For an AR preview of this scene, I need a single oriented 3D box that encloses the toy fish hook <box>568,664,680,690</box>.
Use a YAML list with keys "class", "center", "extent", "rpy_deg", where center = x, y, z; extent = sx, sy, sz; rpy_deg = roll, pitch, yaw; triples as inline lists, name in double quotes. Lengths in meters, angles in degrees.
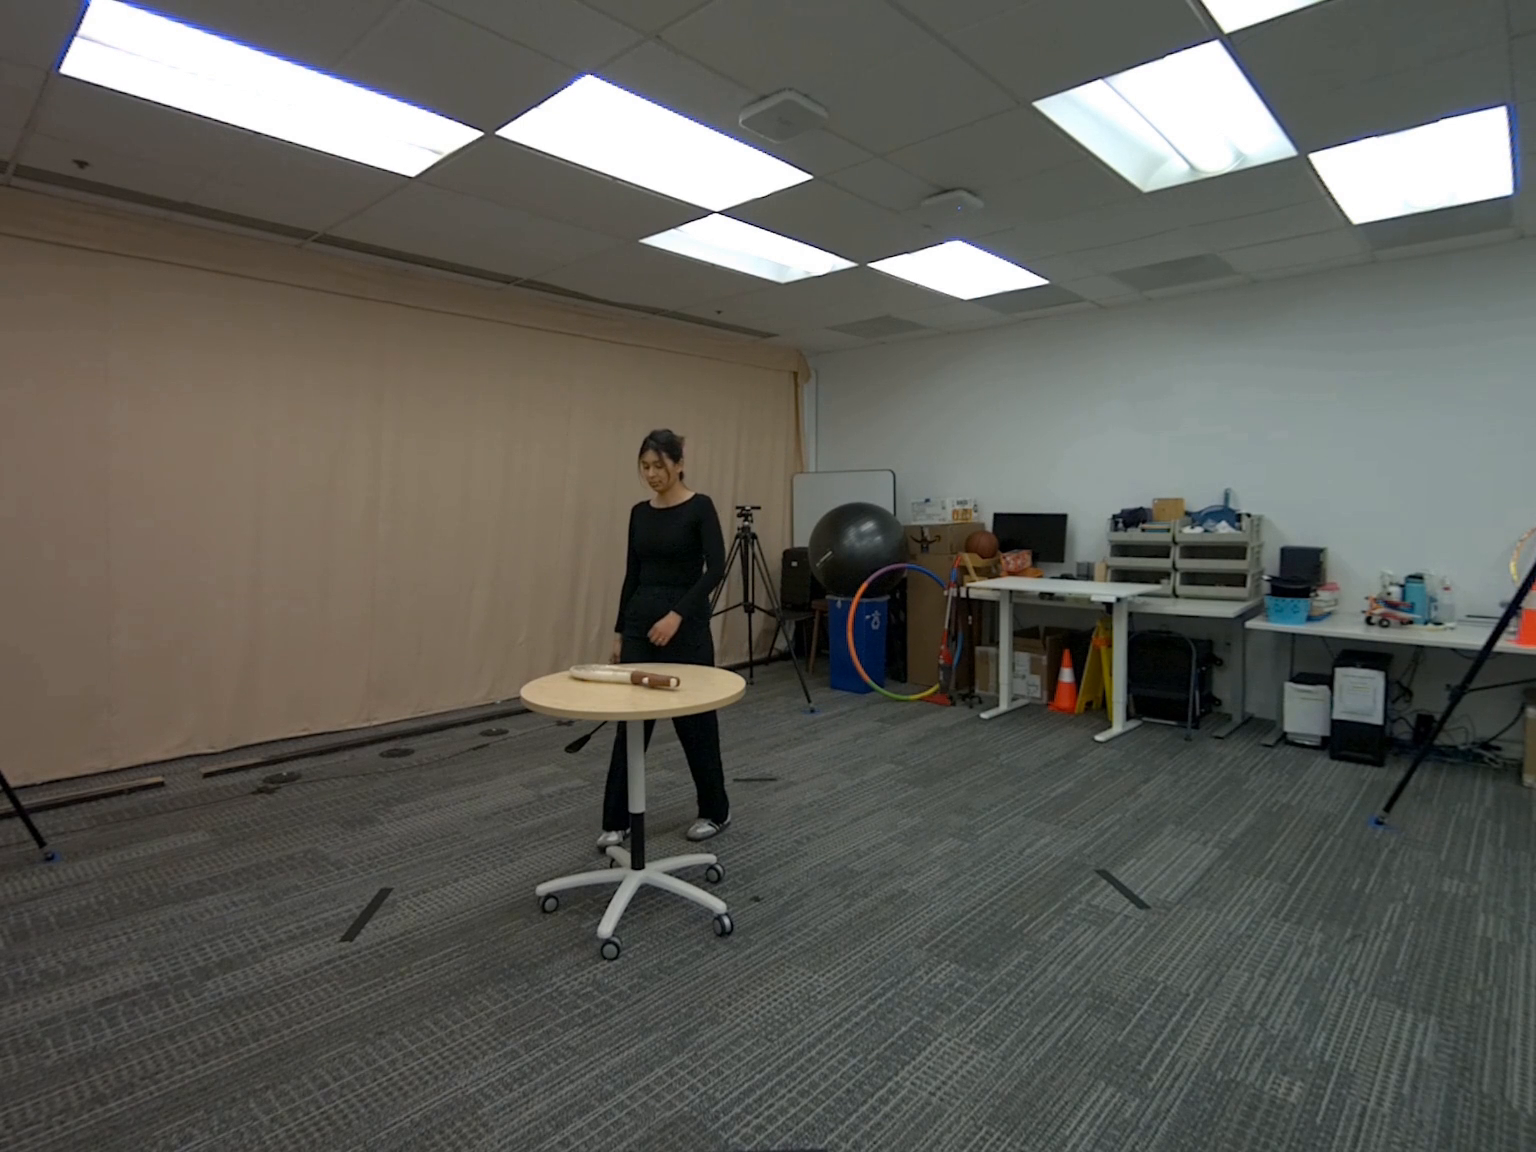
- class: "toy fish hook"
  center: [-0.480, 0.343, 2.962]
  extent: [0.522, 0.048, 0.218]
  rpy_deg: [2, 7, 35]
